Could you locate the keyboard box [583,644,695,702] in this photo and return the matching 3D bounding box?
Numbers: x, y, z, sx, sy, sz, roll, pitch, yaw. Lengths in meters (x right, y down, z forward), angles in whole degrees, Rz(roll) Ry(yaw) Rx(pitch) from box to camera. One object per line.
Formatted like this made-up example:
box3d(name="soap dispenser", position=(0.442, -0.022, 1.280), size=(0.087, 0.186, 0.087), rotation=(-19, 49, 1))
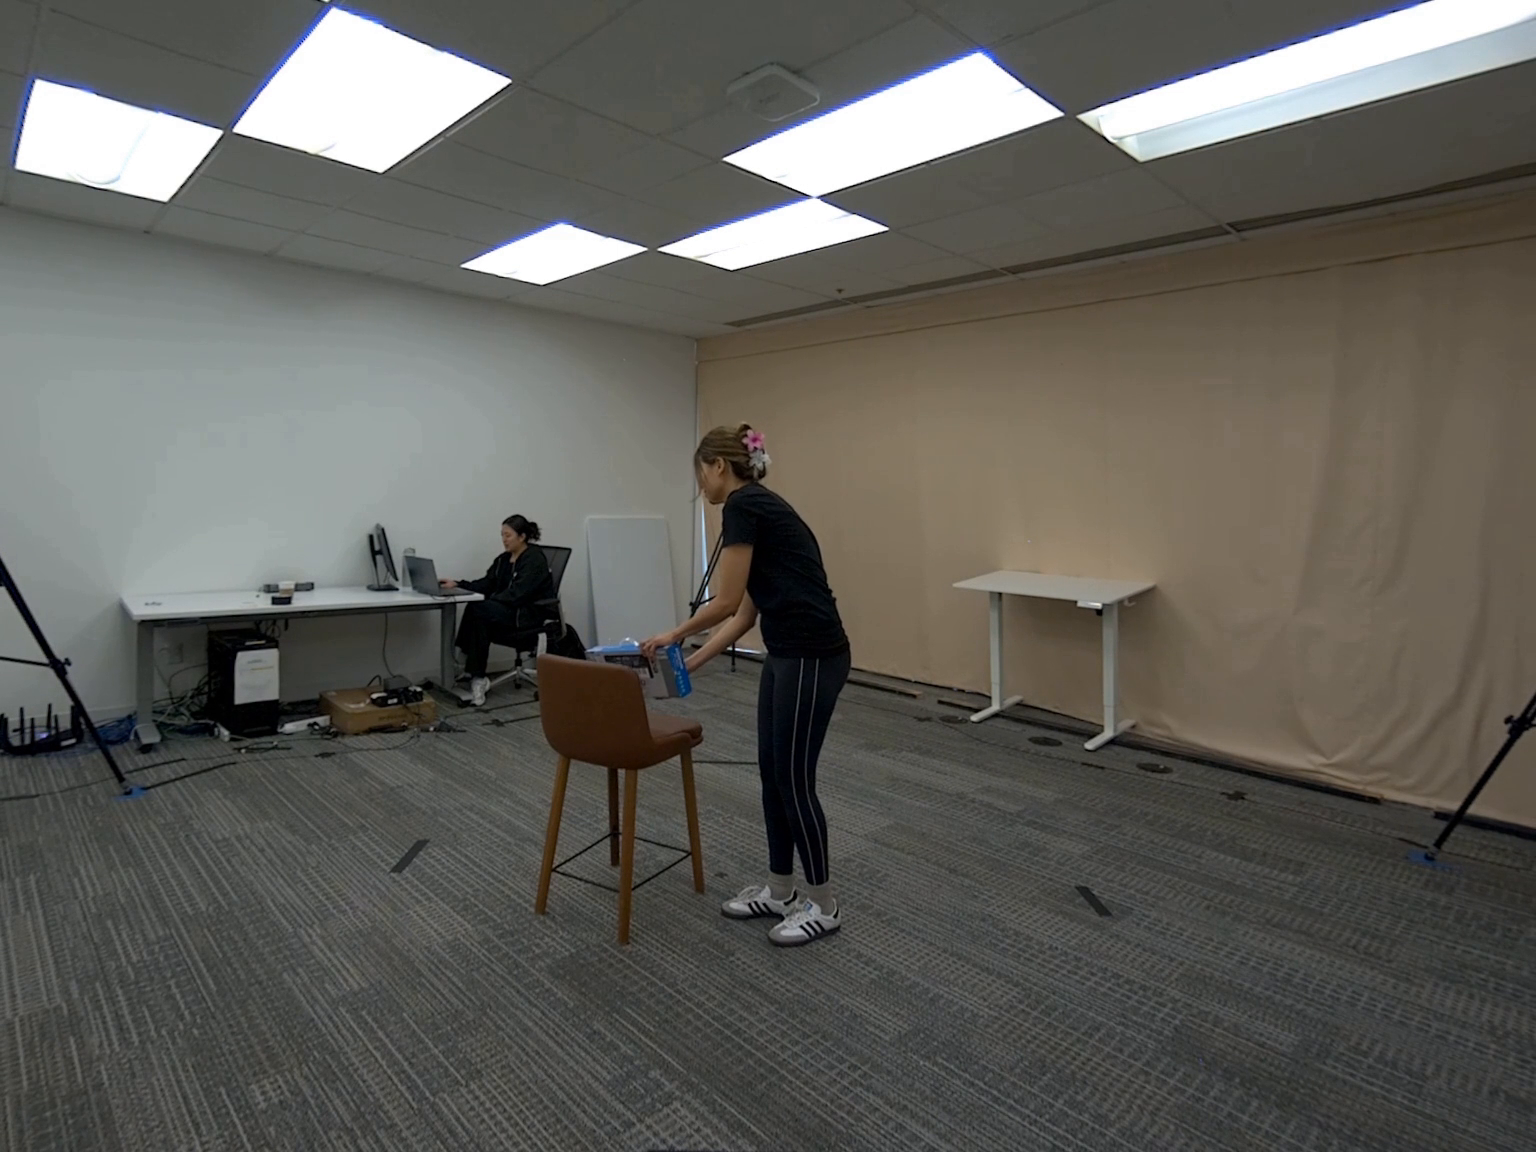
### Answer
box3d(name="keyboard box", position=(-0.448, 0.330, 2.887), size=(0.446, 0.175, 0.058), rotation=(-6, 11, 41))
